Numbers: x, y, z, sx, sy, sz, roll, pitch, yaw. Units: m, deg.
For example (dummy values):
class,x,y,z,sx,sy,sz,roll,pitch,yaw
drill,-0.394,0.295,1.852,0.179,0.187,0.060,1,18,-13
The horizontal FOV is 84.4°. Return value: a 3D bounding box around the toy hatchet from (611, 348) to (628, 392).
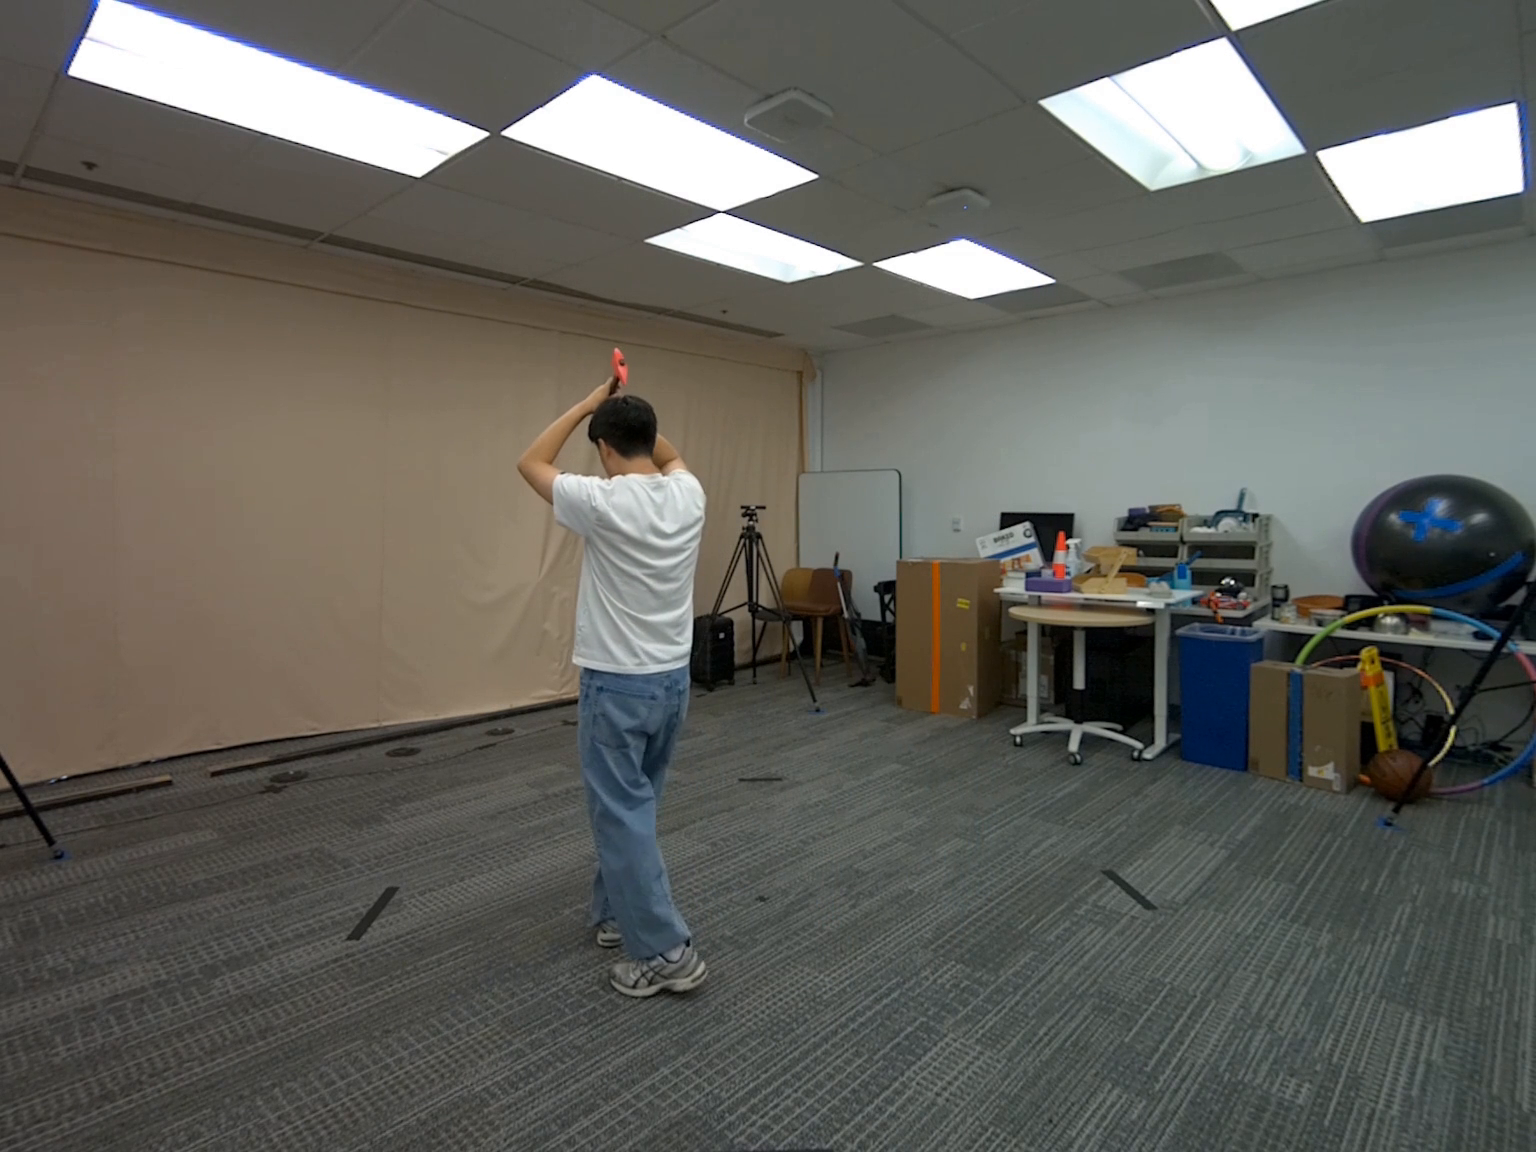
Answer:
class,x,y,z,sx,sy,sz,roll,pitch,yaw
toy hatchet,-0.477,-0.612,2.600,0.029,0.131,0.275,-6,-5,-25
